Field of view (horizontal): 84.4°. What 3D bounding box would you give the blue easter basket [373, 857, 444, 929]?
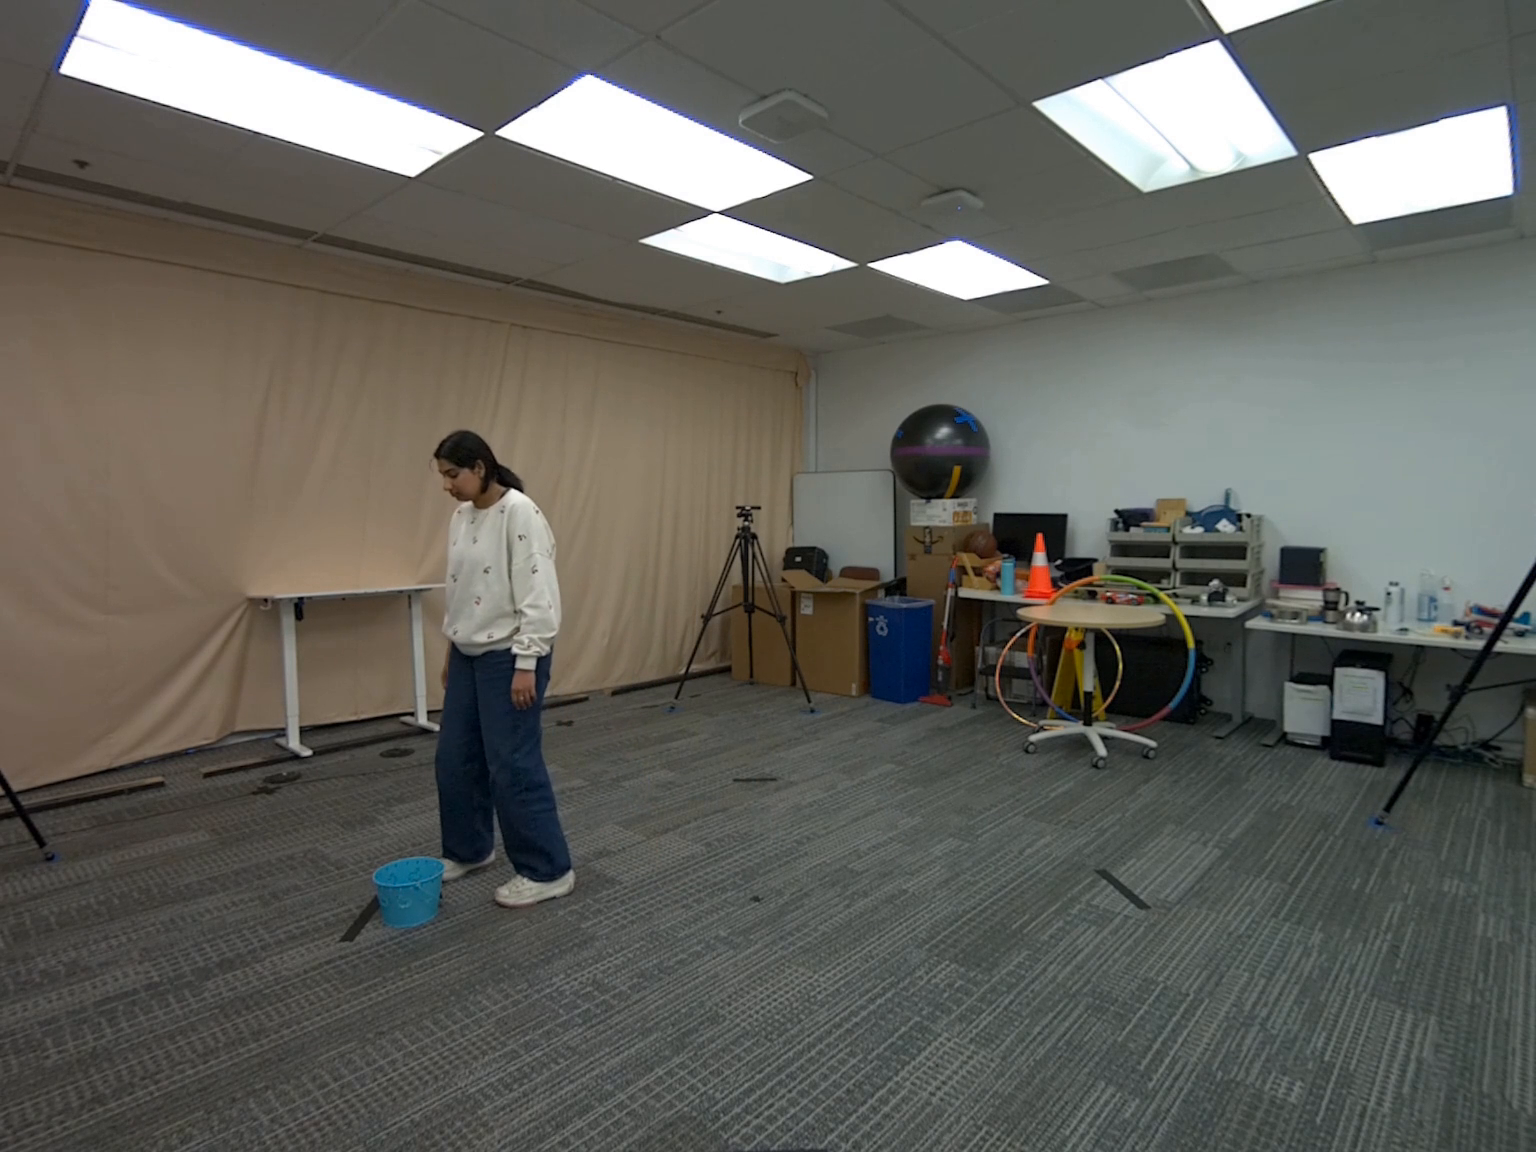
[{"bbox_3d":[-1.224,1.080,2.882,0.243,0.155,0.244,0,5,-2],"label":"blue easter basket"}]
